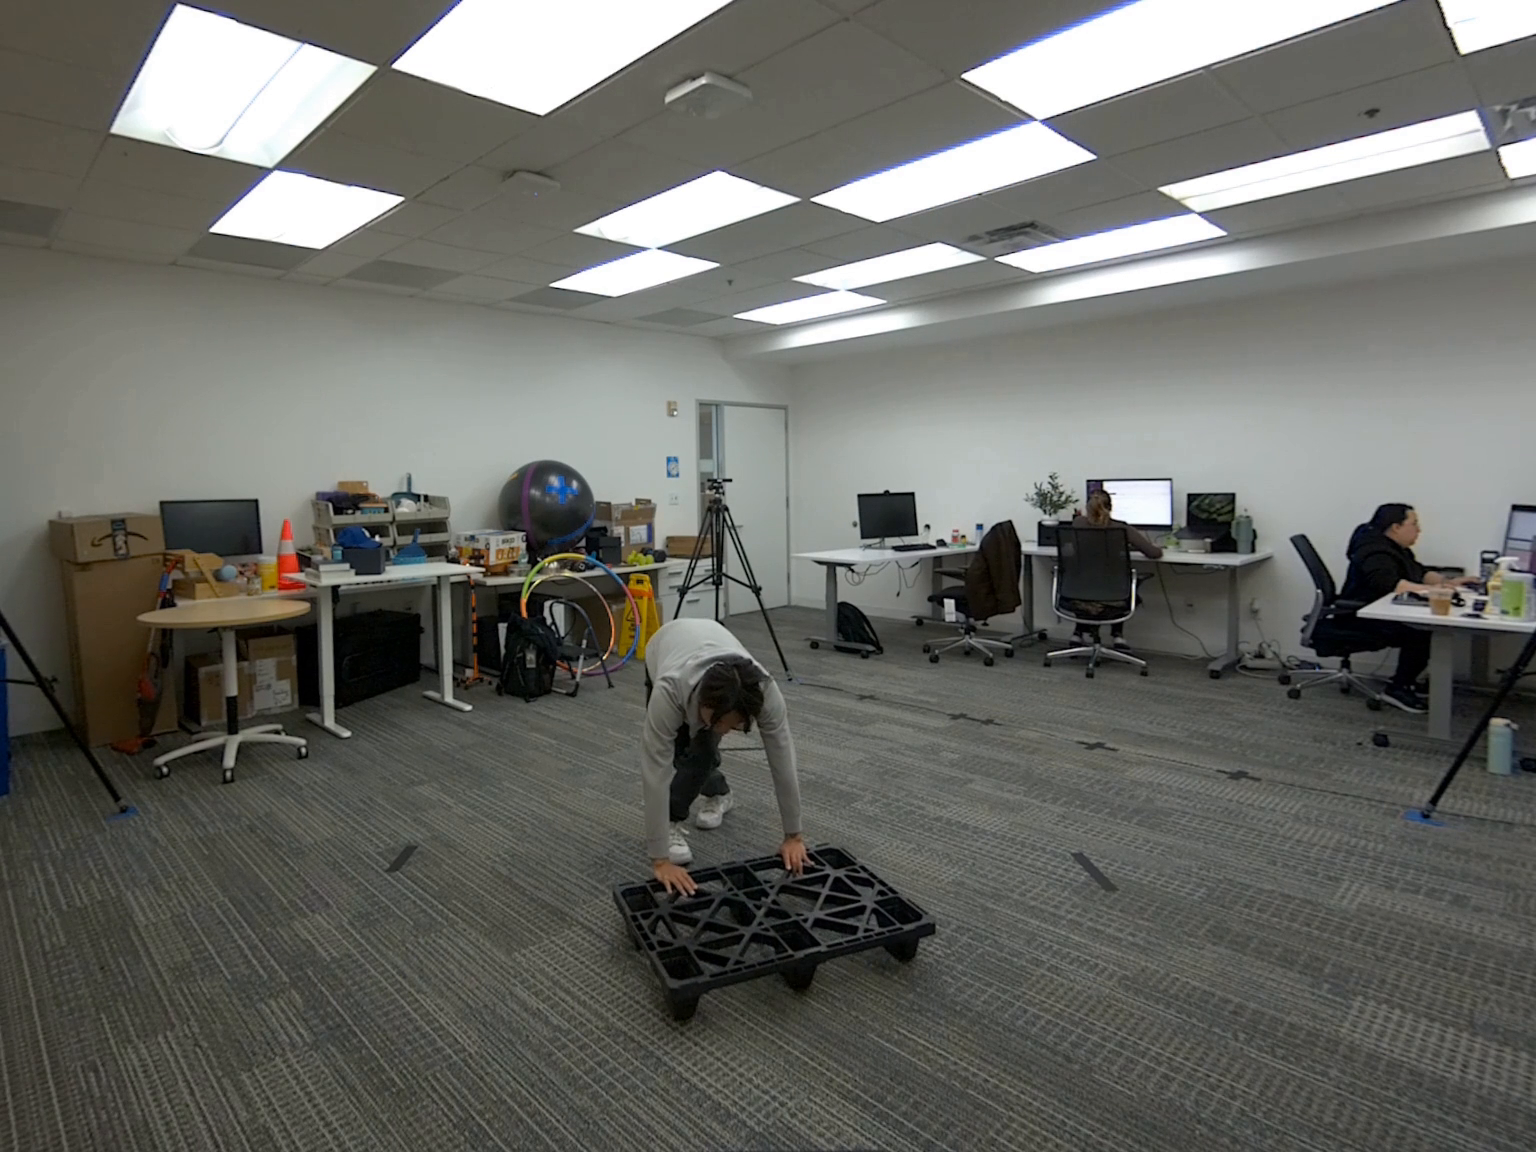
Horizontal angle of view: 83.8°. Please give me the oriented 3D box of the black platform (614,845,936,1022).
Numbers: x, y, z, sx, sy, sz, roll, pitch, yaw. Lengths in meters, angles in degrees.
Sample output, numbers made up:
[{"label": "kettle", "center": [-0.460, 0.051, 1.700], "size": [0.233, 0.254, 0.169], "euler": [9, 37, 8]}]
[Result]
[{"label": "black platform", "center": [0.005, 1.039, 2.549], "size": [0.790, 0.142, 0.620], "euler": [-4, 7, -22]}]
